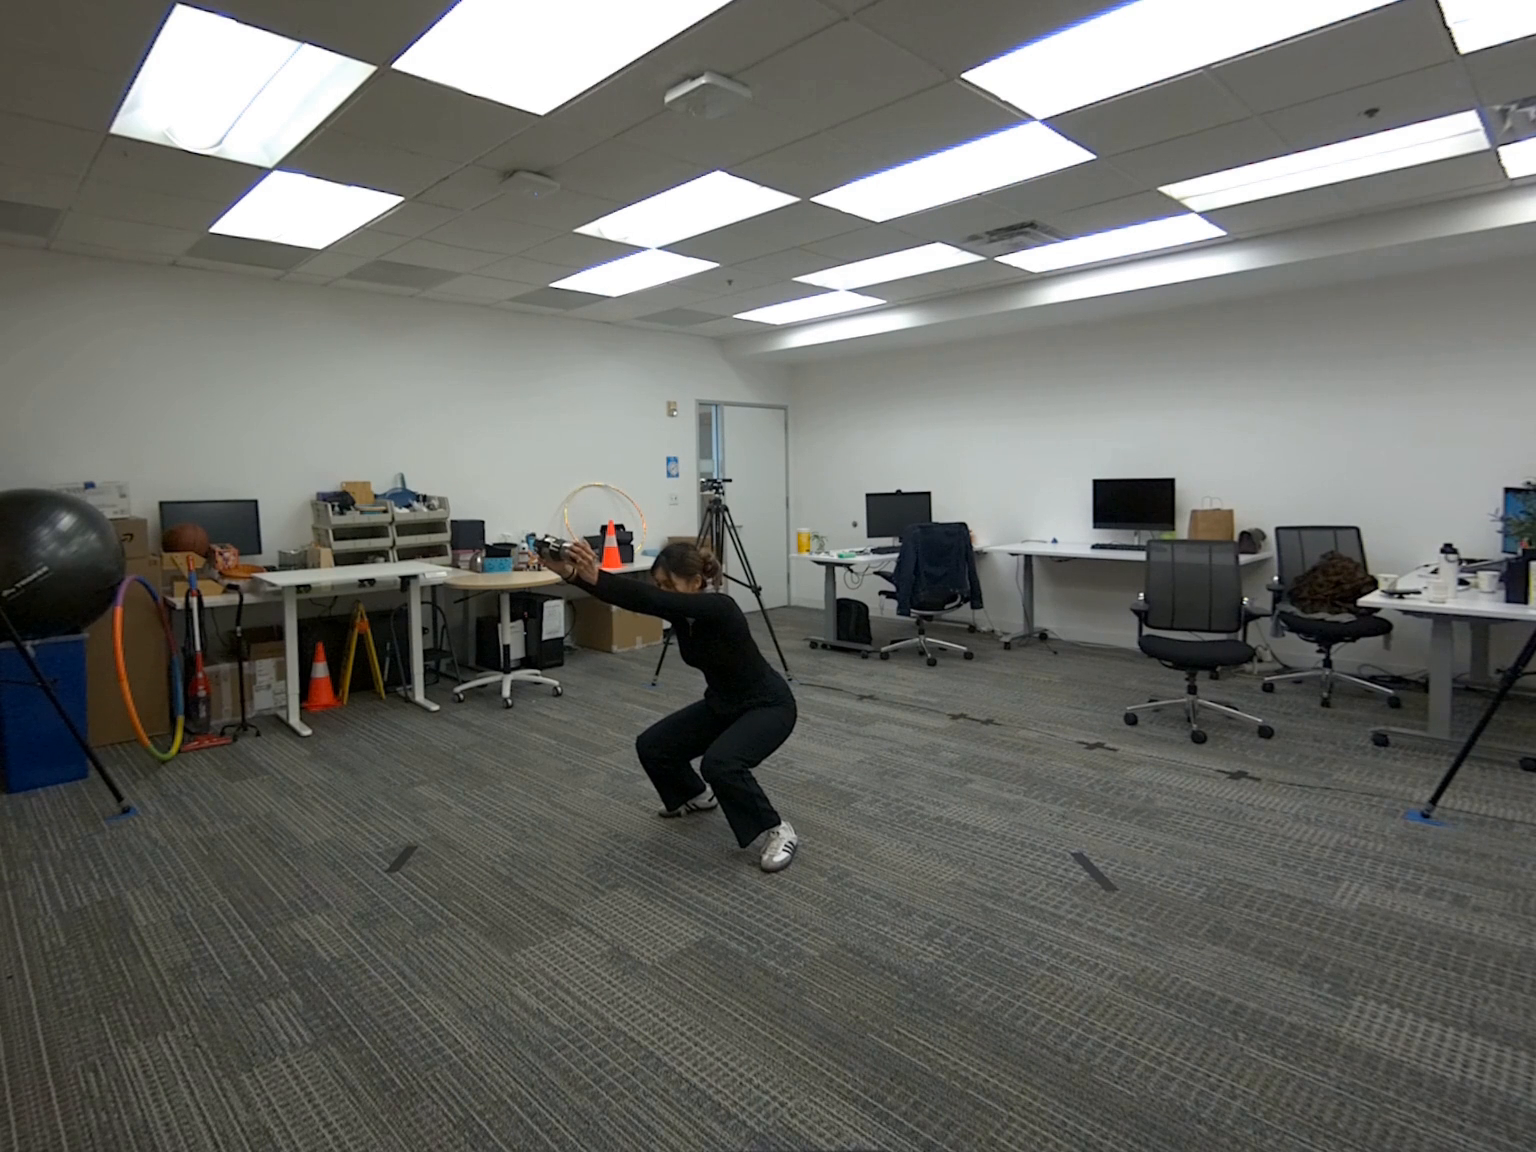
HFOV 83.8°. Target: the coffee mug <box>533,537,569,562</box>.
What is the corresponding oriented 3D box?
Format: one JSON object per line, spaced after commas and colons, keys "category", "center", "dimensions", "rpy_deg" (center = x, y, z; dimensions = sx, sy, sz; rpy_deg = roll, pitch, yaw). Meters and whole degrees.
{"category": "coffee mug", "center": [-0.695, -0.078, 2.853], "dimensions": [0.119, 0.087, 0.209], "rpy_deg": [-7, 11, -34]}
